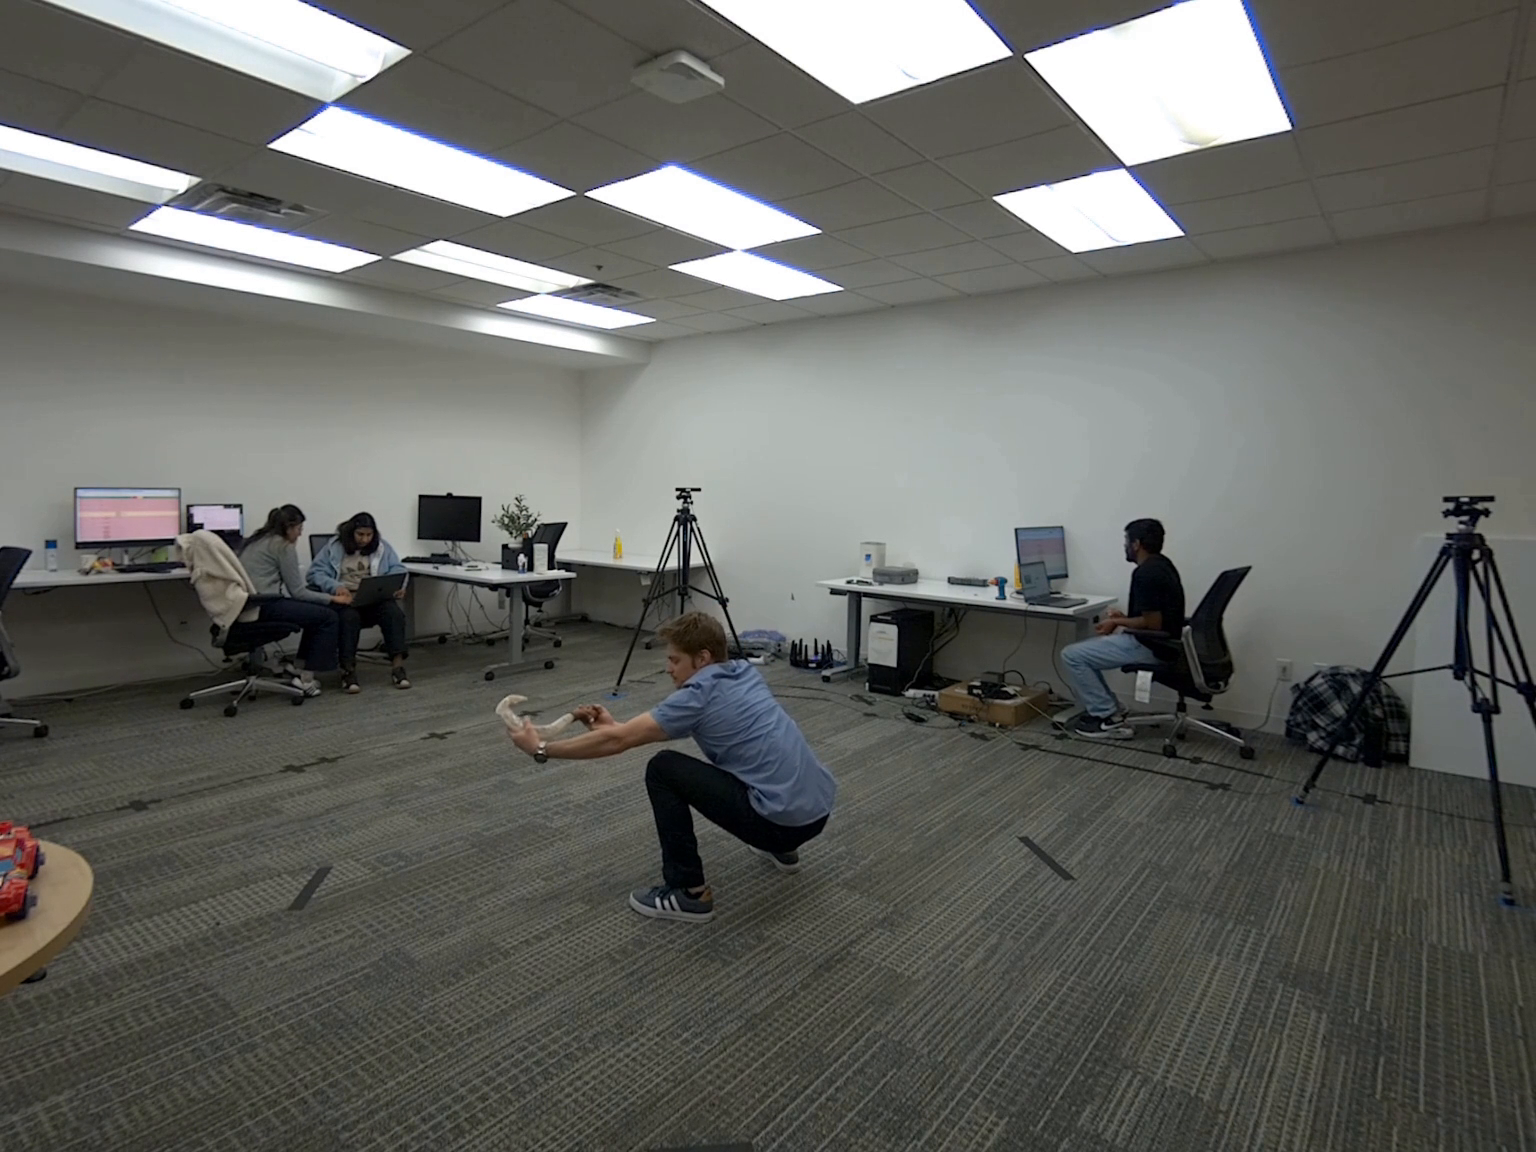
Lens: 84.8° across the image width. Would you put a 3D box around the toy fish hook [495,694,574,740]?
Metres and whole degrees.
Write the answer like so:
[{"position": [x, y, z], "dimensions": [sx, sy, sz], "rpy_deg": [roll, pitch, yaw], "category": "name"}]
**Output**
[{"position": [-0.782, 0.486, 3.037], "dimensions": [0.231, 0.048, 0.493], "rpy_deg": [37, 12, 19], "category": "toy fish hook"}]
